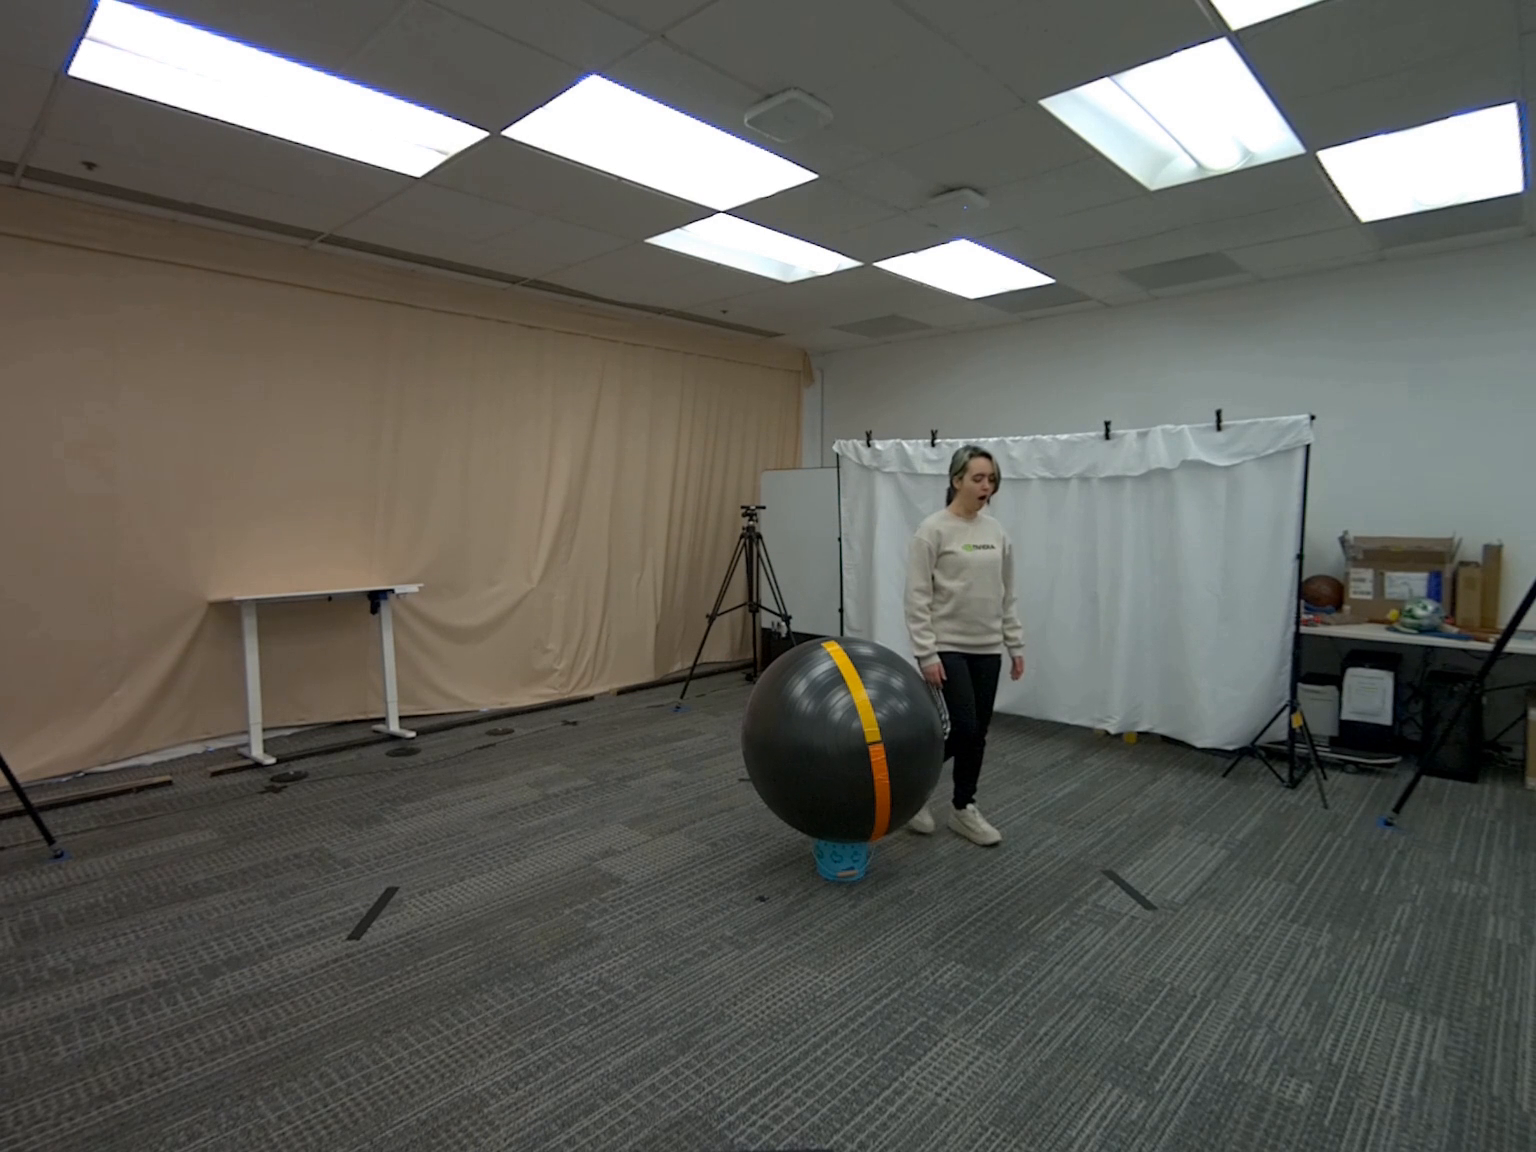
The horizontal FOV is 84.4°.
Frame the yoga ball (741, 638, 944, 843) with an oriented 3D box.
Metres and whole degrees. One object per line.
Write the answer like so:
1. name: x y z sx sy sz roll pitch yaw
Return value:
1. yoga ball: 0.281 0.614 3.186 0.757 0.756 0.760 0 4 -2
